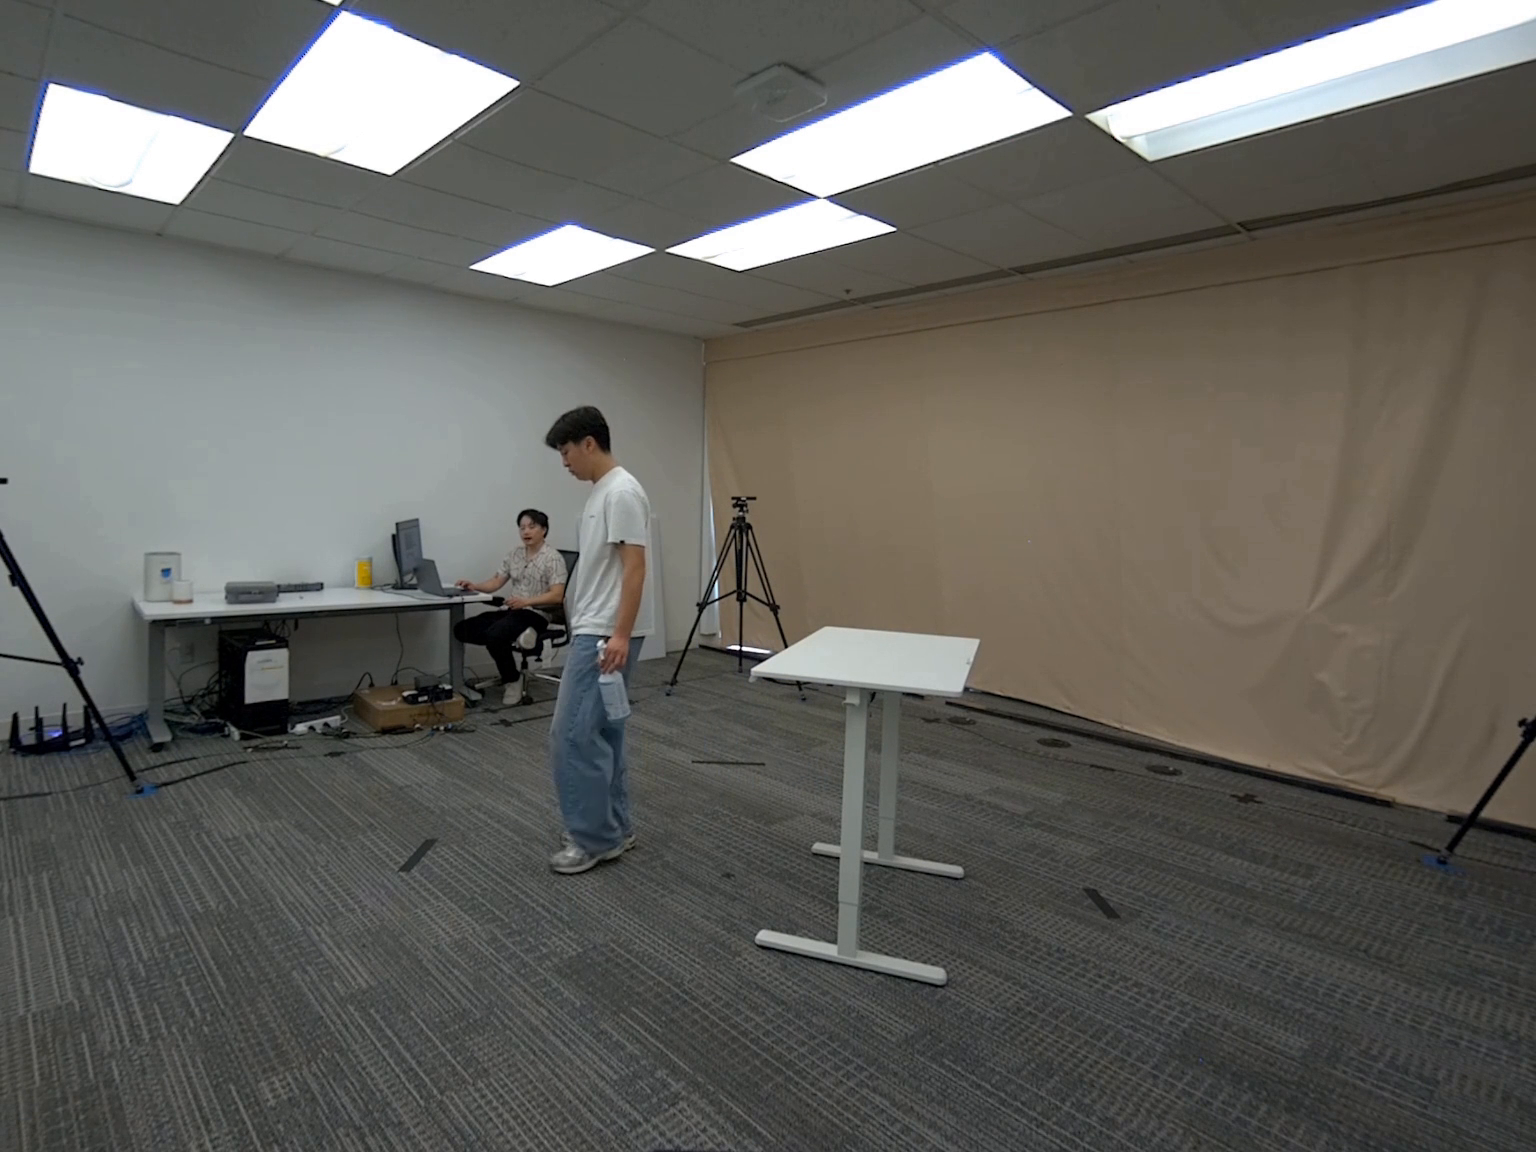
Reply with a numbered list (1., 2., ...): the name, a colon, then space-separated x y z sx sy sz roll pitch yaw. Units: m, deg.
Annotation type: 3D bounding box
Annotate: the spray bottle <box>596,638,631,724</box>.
1. spray bottle: -0.562 0.373 3.007 0.088 0.295 0.089 -8 8 27
